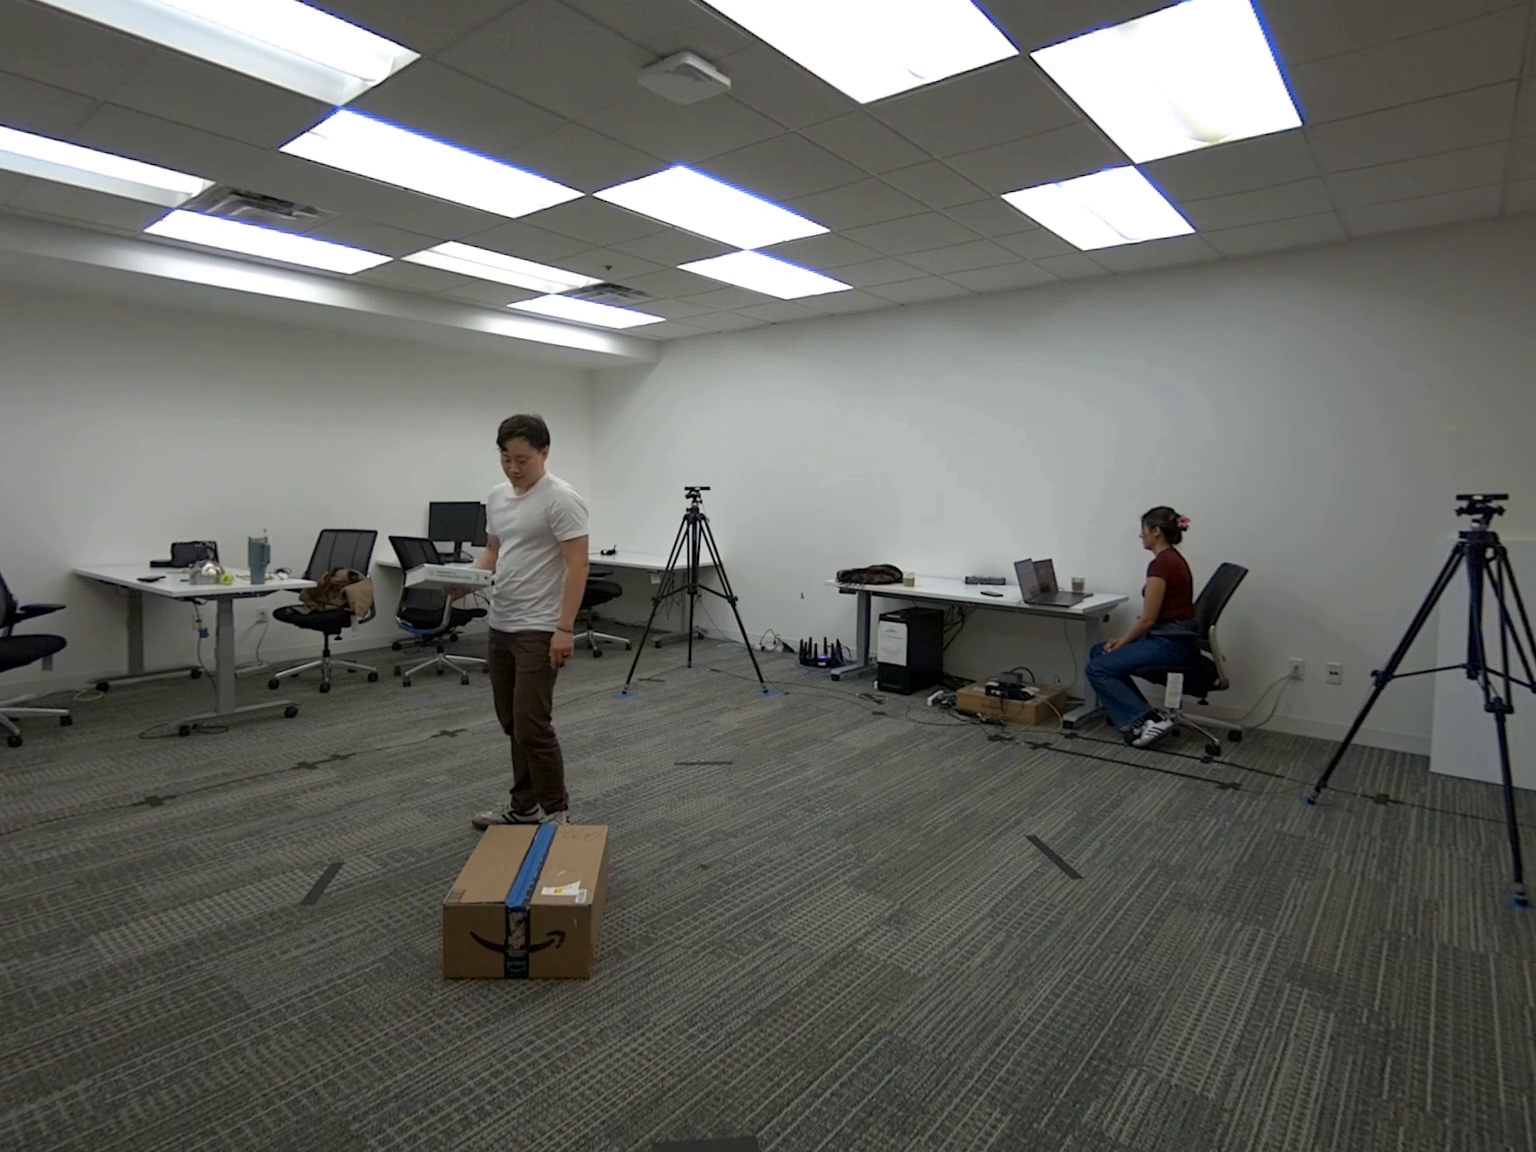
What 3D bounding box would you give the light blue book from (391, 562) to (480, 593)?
[{"bbox_3d":[-1.262,0.007,3.186,0.252,0.060,0.196,8,-14,-41],"label":"light blue book"}]
